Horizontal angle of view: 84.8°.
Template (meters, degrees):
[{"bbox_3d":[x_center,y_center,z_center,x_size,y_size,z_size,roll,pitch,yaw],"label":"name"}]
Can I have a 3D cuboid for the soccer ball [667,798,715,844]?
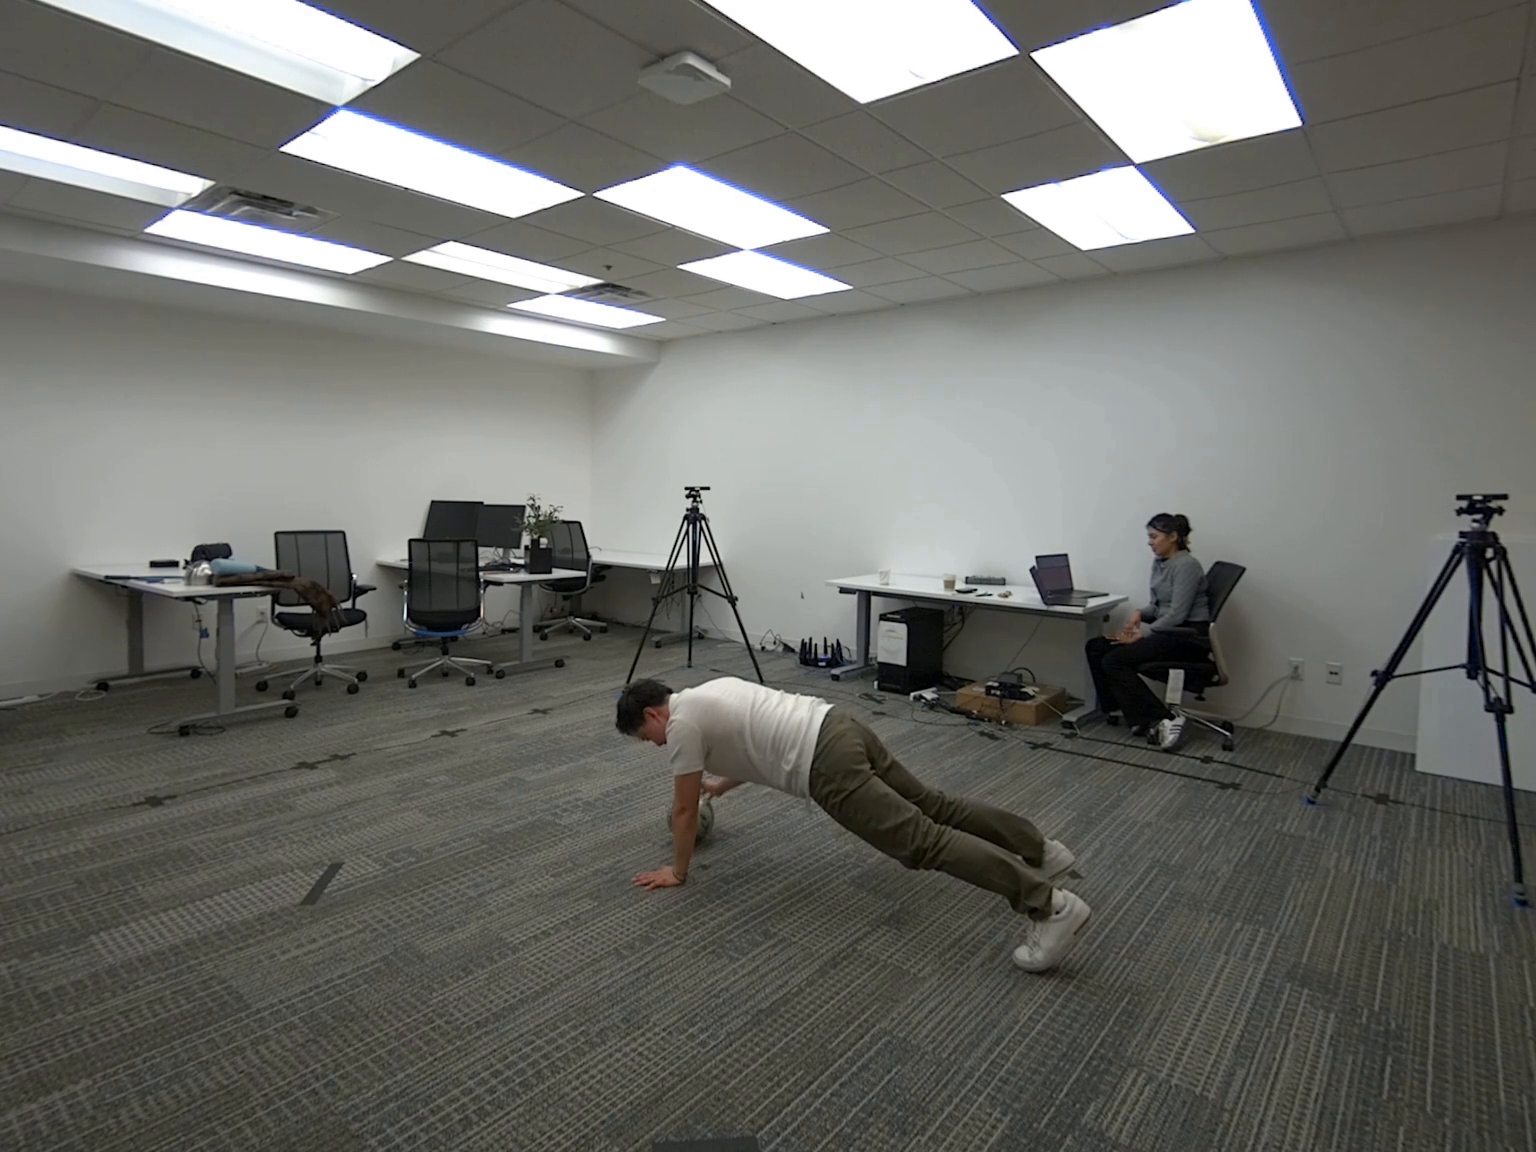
[{"bbox_3d":[-0.311,0.942,3.347,0.187,0.187,0.188,1,4,-2],"label":"soccer ball"}]
